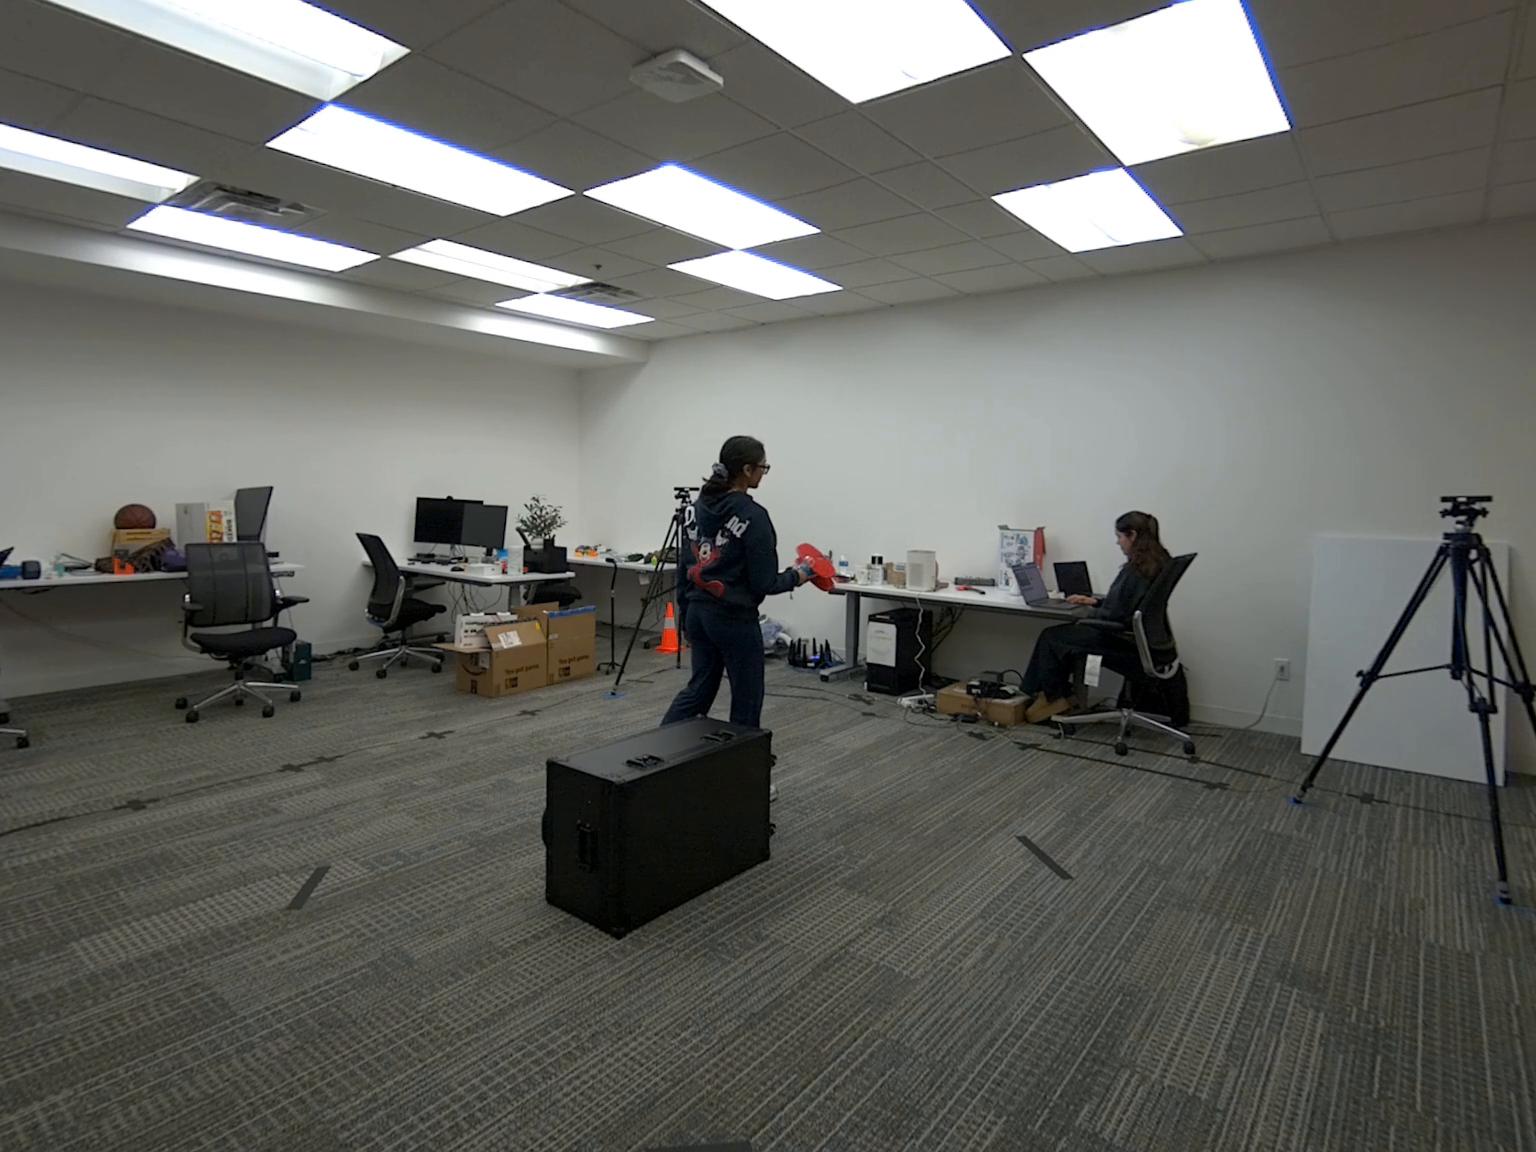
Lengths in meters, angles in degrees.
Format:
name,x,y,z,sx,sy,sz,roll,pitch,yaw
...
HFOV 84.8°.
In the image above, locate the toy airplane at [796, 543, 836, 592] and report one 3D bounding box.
name,x,y,z,sx,sy,sz,roll,pitch,yaw
toy airplane,0.188,-0.009,3.886,0.257,0.153,0.258,24,34,18
